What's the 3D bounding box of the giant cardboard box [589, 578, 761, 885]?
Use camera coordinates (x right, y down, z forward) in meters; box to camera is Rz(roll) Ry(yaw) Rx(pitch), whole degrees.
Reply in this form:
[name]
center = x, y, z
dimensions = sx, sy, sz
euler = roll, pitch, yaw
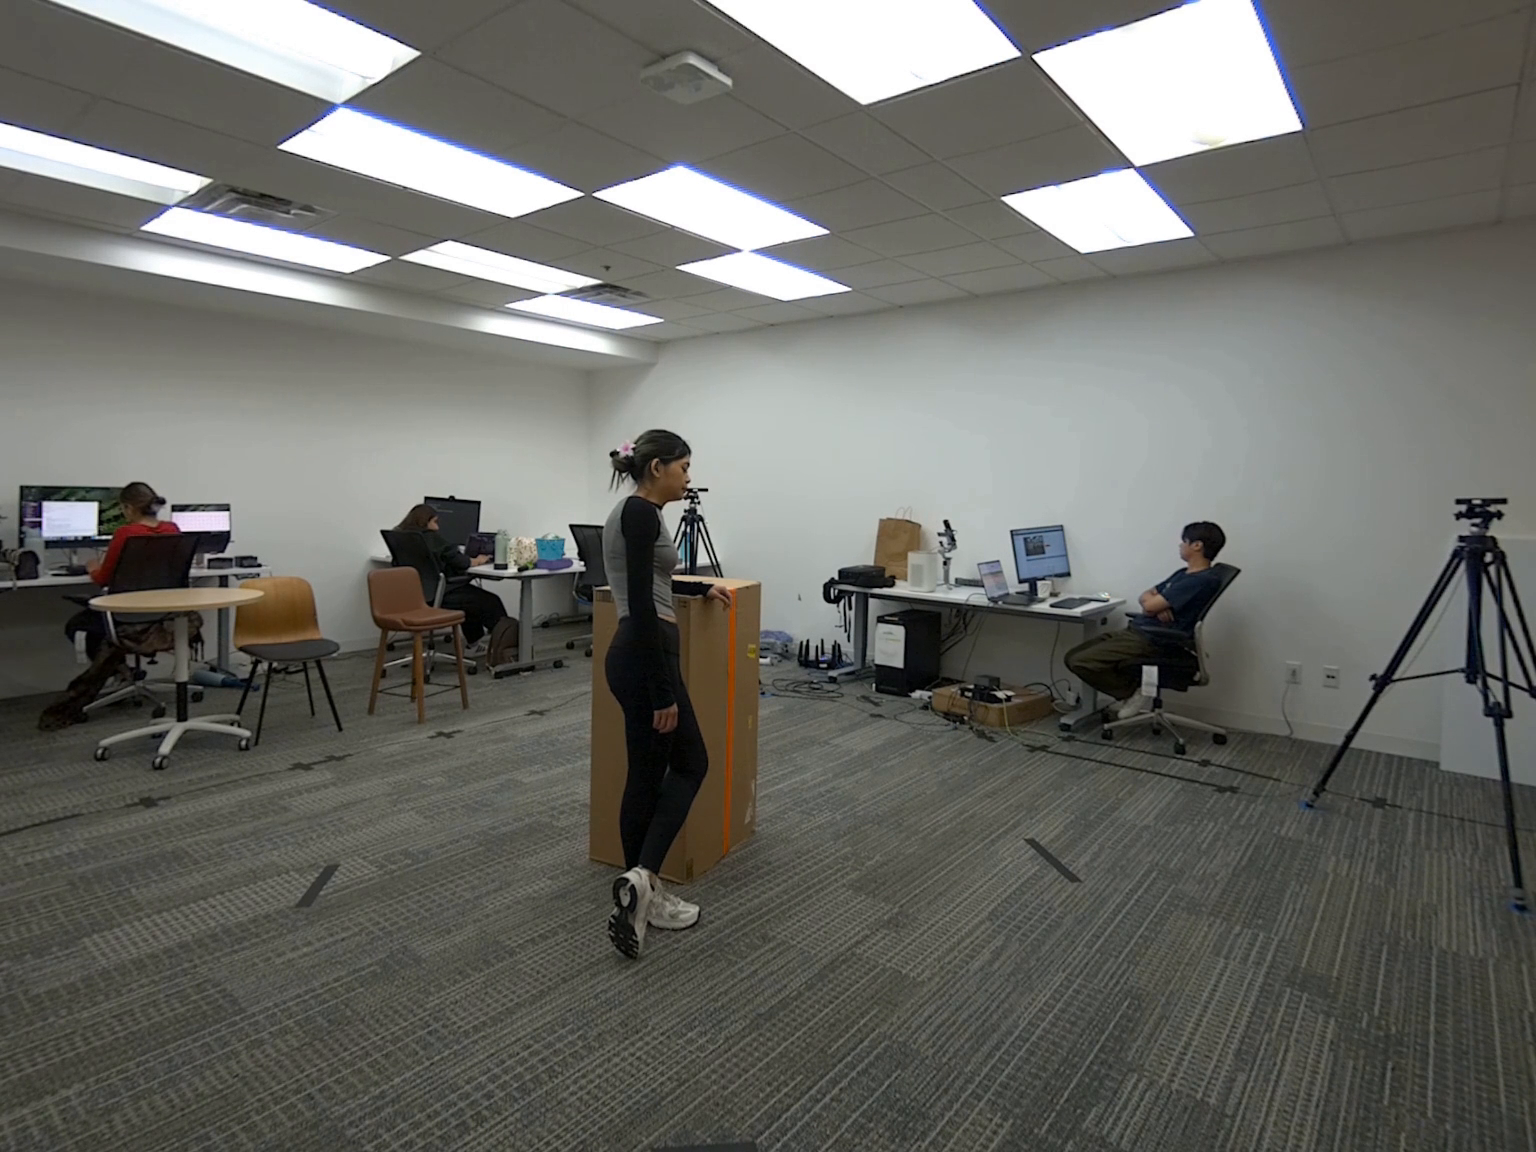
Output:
[giant cardboard box]
center = -0.356, 0.539, 3.304
dimensions = 0.438, 1.022, 0.564
euler = 3, 4, 27
